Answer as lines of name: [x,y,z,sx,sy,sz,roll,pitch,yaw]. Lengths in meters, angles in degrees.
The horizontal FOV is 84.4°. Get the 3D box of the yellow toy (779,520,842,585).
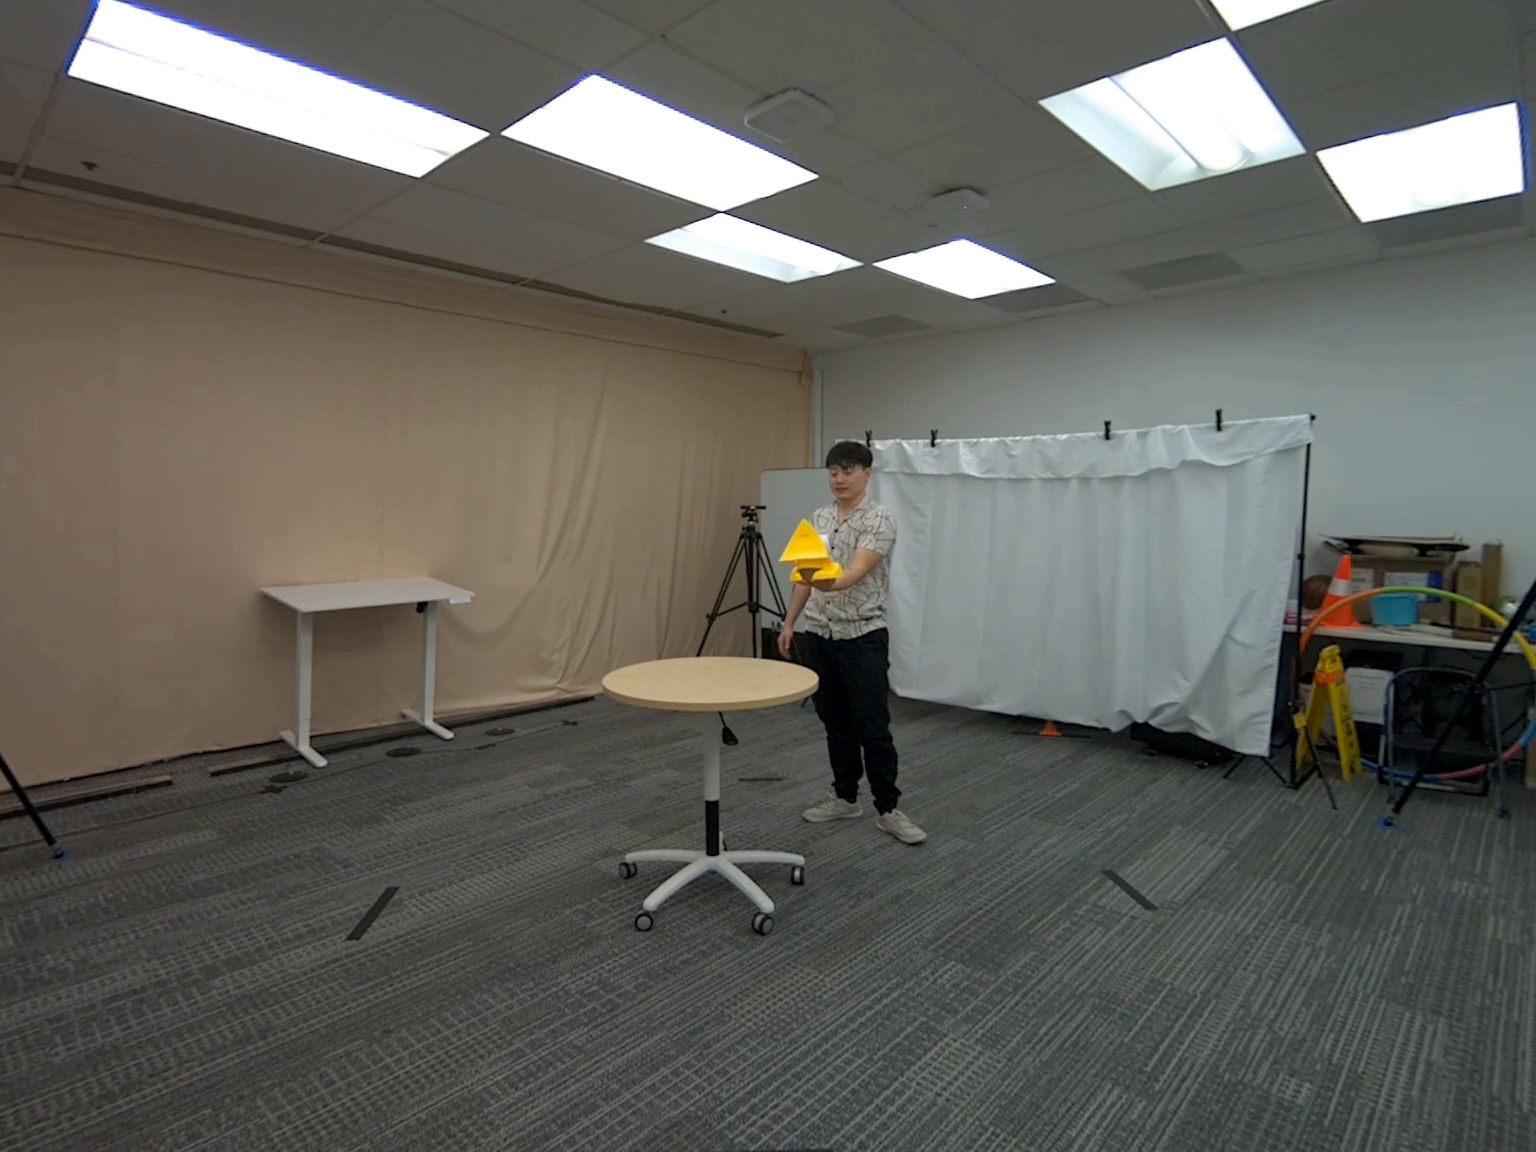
yellow toy: [0.179,-0.101,3.216,0.210,0.231,0.187,-5,-2,33]
